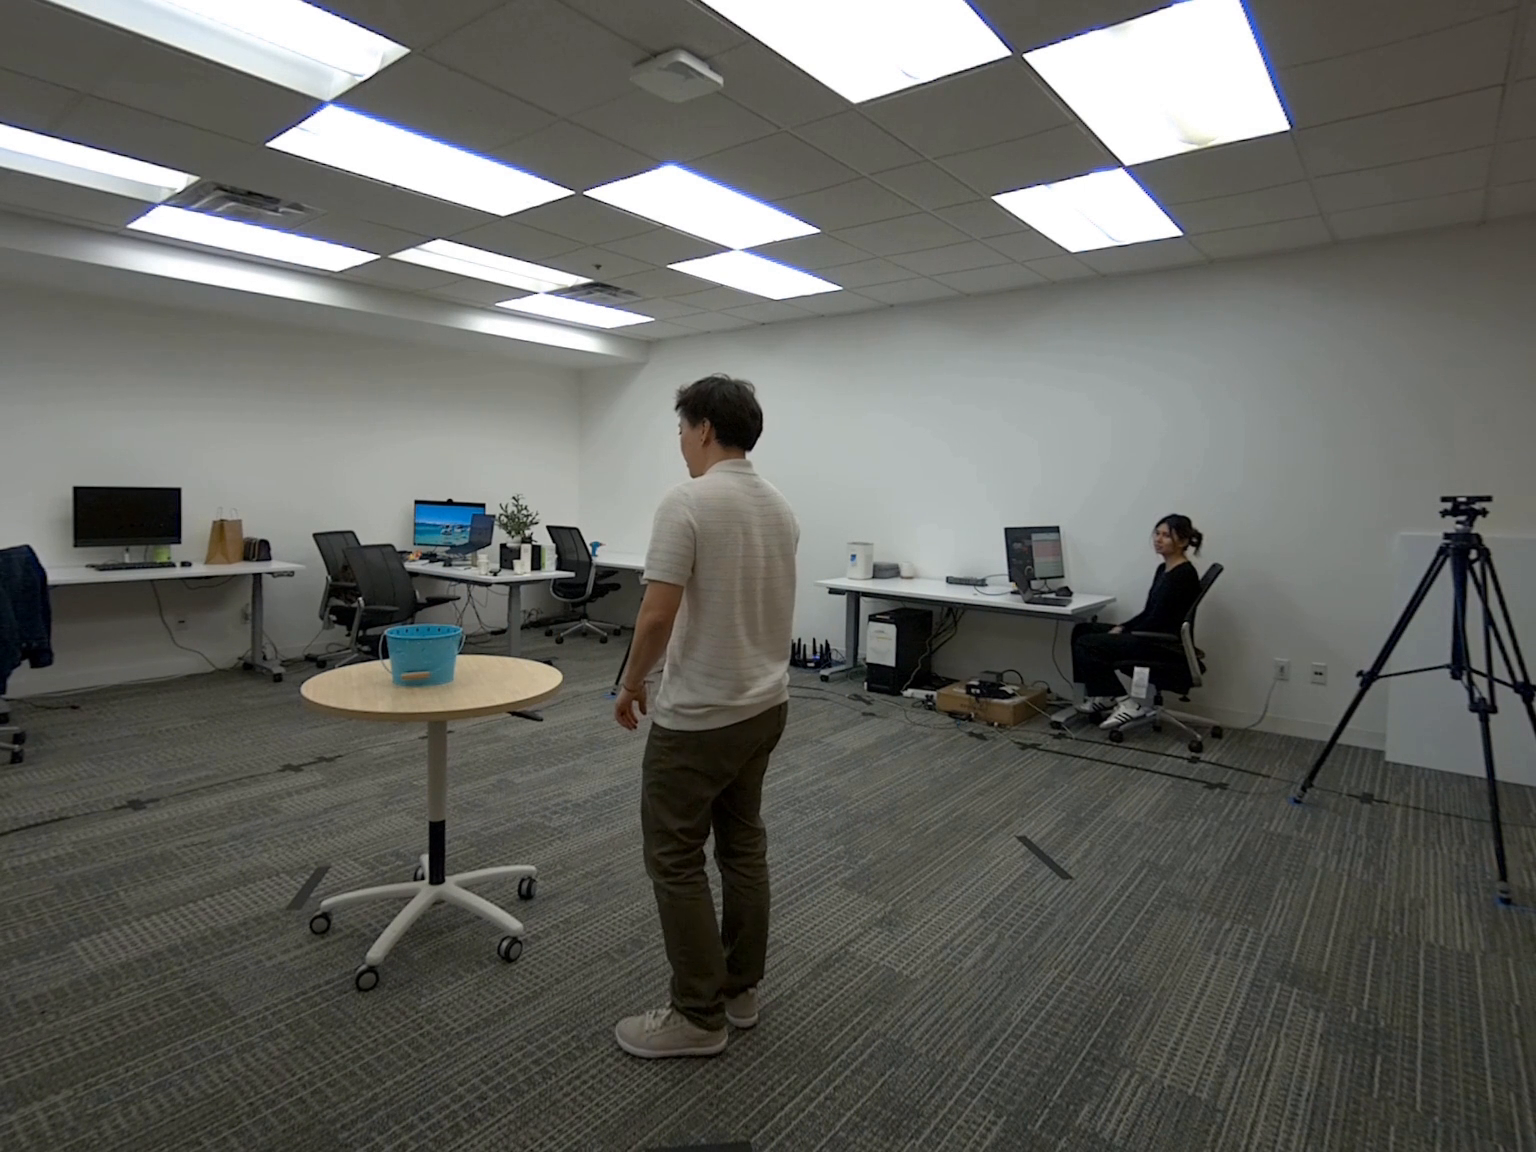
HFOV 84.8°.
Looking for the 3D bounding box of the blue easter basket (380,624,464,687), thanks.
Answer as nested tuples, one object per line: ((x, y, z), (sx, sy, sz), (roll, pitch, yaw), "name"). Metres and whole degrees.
((-1.081, 0.246, 2.628), (0.243, 0.155, 0.245), (0, 5, -2), "blue easter basket")
